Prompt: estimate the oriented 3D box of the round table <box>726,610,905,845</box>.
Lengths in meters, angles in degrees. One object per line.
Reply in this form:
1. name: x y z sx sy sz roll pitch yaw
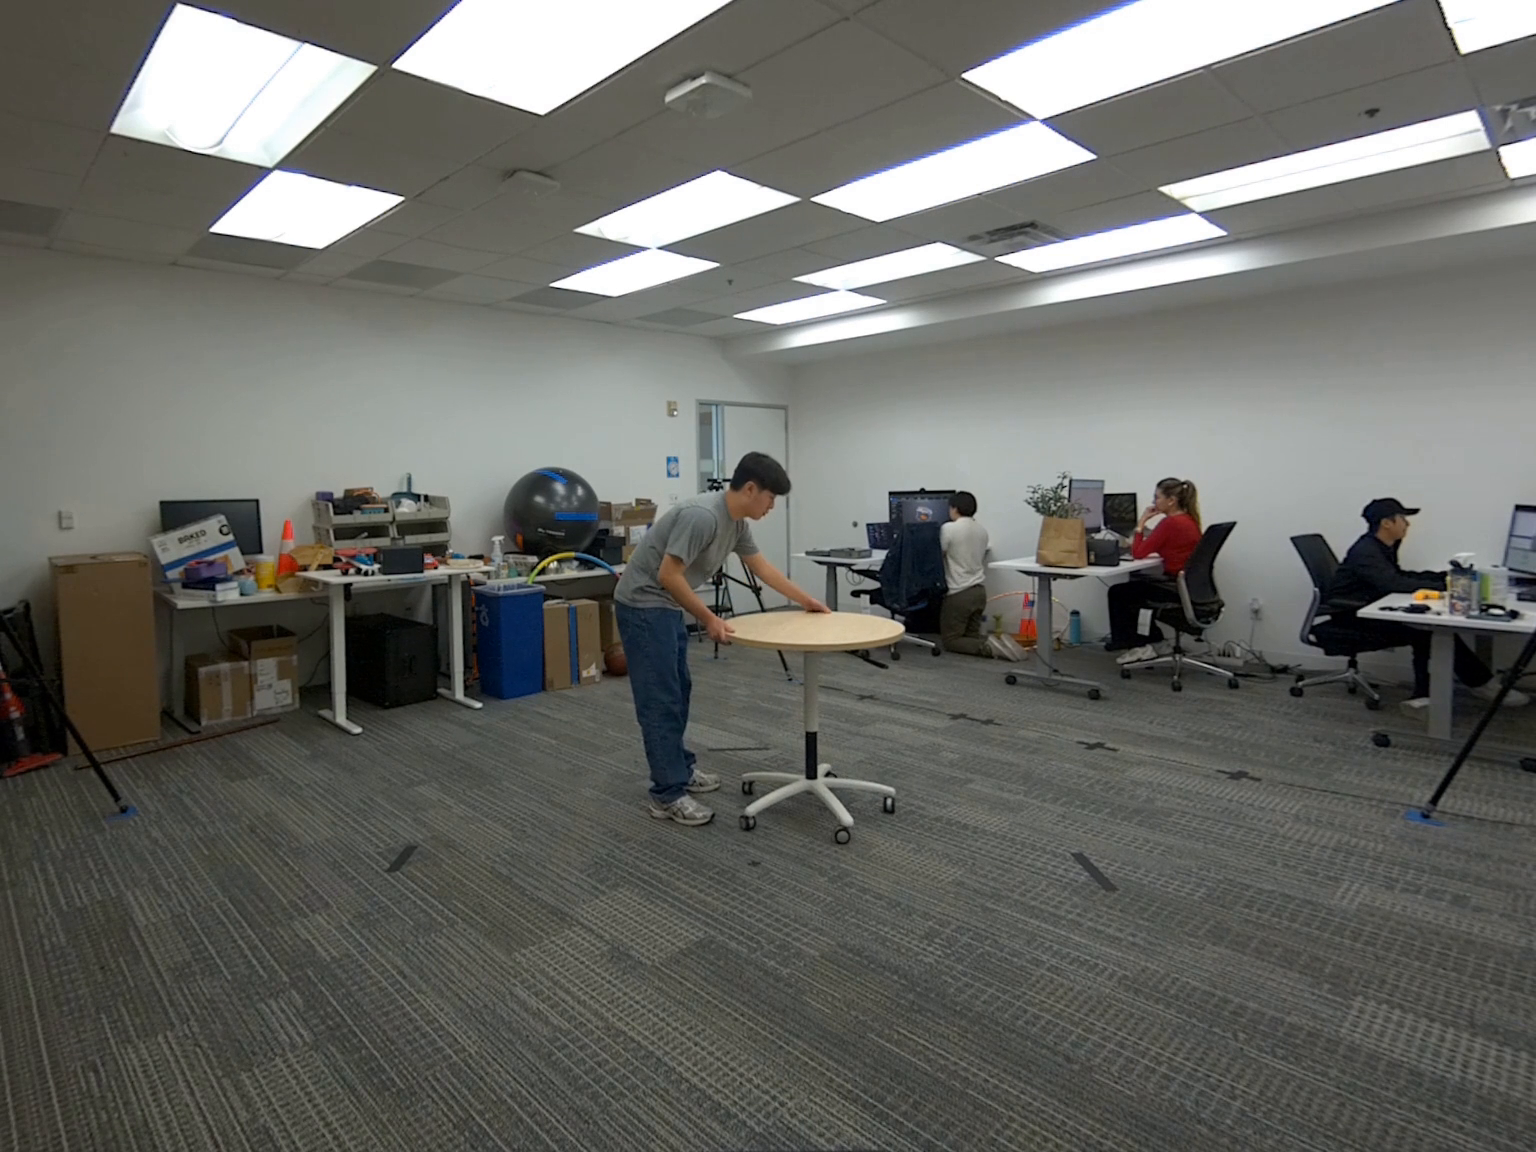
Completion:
1. round table: 0.176 0.598 3.559 0.763 0.791 0.768 -1 5 -2
